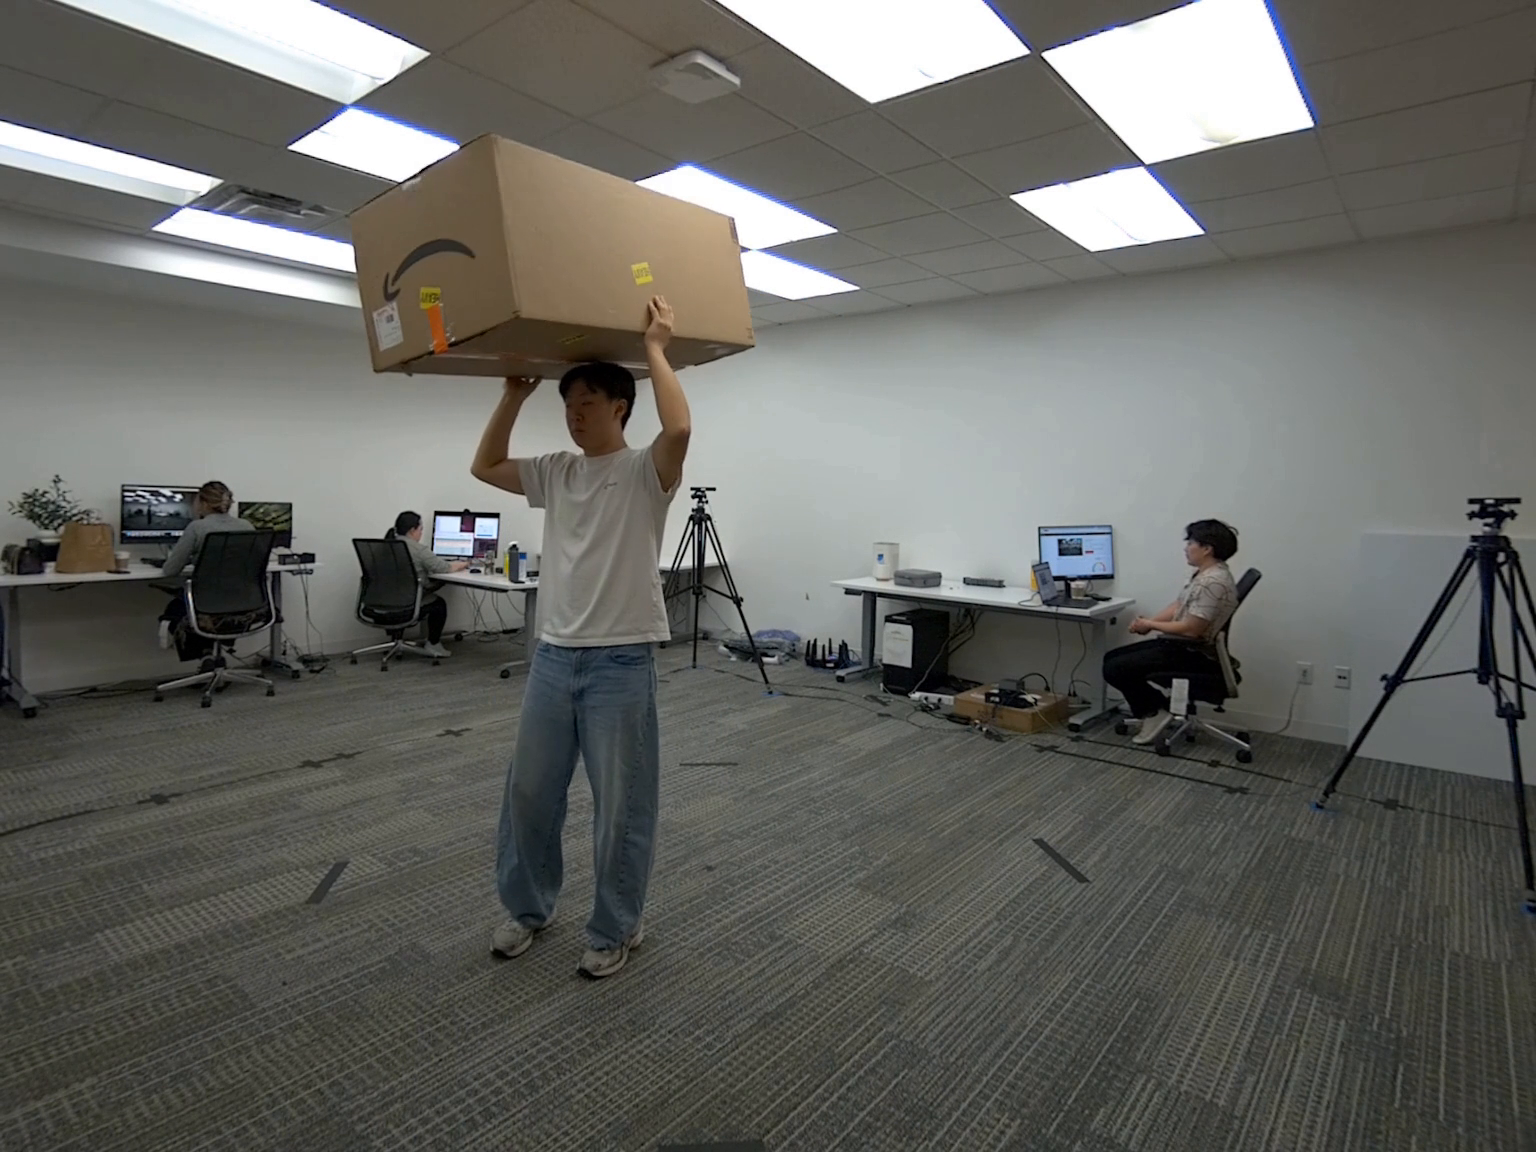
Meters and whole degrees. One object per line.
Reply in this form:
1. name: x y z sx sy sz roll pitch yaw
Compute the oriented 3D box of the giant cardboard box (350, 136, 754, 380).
1. giant cardboard box: -0.589 -0.834 2.494 0.592 0.425 1.003 -7 5 33
